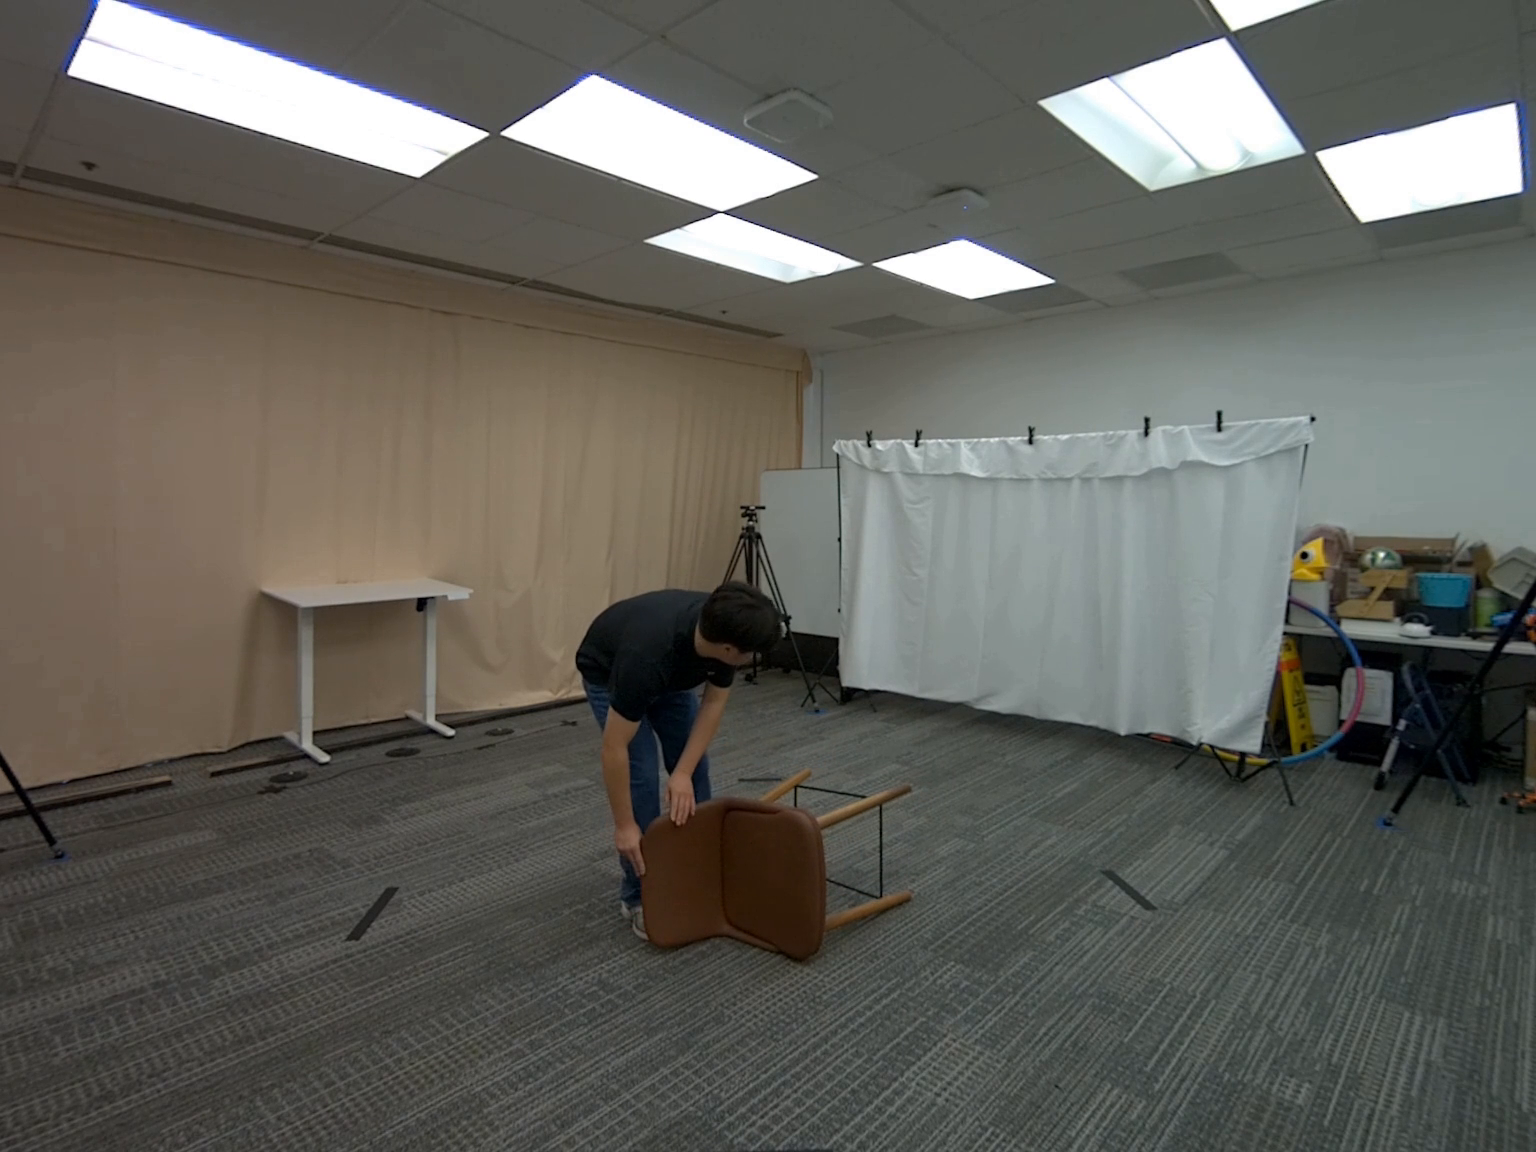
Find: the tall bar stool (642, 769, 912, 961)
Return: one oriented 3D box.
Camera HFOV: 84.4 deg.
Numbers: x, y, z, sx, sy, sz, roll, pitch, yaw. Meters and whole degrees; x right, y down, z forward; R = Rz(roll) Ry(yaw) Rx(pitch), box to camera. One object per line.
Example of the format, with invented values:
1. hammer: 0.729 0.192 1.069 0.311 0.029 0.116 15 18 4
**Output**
1. tall bar stool: 0.065 0.941 2.785 0.483 0.456 0.862 2 2 39
